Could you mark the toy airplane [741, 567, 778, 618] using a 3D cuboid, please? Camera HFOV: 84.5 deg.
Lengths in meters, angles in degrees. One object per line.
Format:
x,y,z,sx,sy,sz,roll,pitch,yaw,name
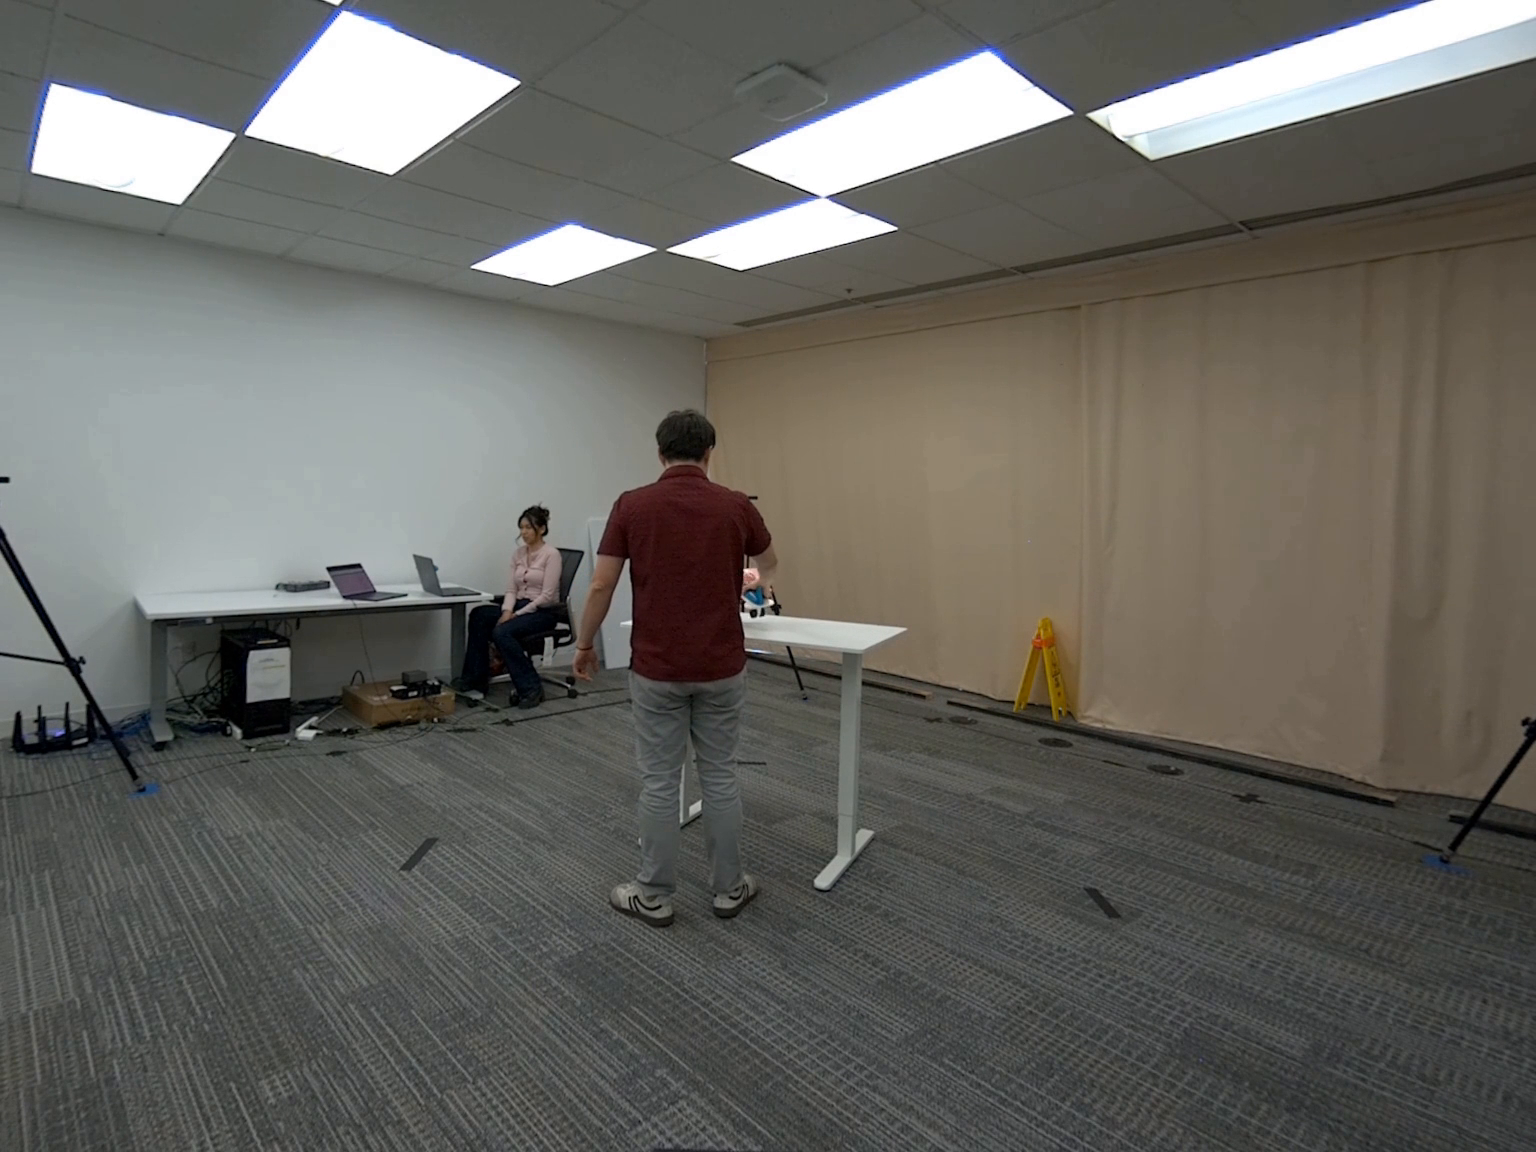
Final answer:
-0.079,0.061,3.354,0.266,0.155,0.247,9,19,37,toy airplane
